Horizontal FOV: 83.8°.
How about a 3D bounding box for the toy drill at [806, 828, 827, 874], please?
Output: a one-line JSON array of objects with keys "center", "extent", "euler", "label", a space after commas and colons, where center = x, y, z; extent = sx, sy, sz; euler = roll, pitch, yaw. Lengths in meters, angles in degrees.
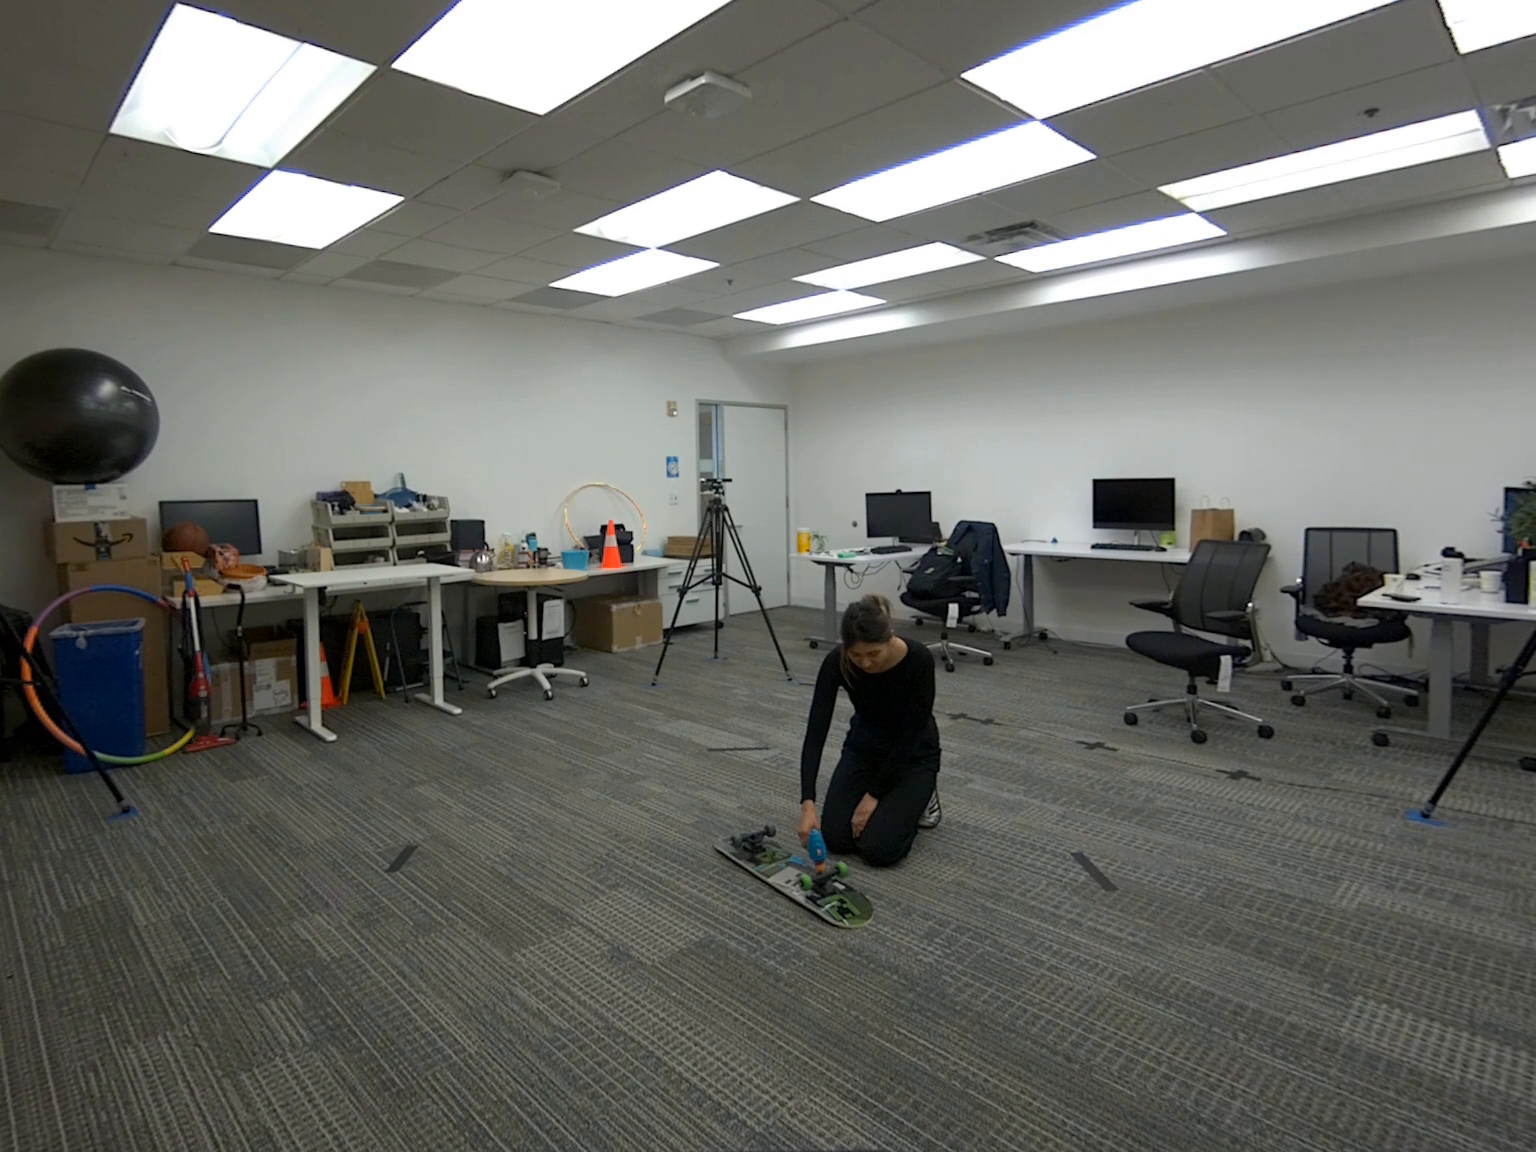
[{"center": [0.167, 0.941, 2.908], "extent": [0.061, 0.170, 0.146], "euler": [-15, -2, -3], "label": "toy drill"}]
